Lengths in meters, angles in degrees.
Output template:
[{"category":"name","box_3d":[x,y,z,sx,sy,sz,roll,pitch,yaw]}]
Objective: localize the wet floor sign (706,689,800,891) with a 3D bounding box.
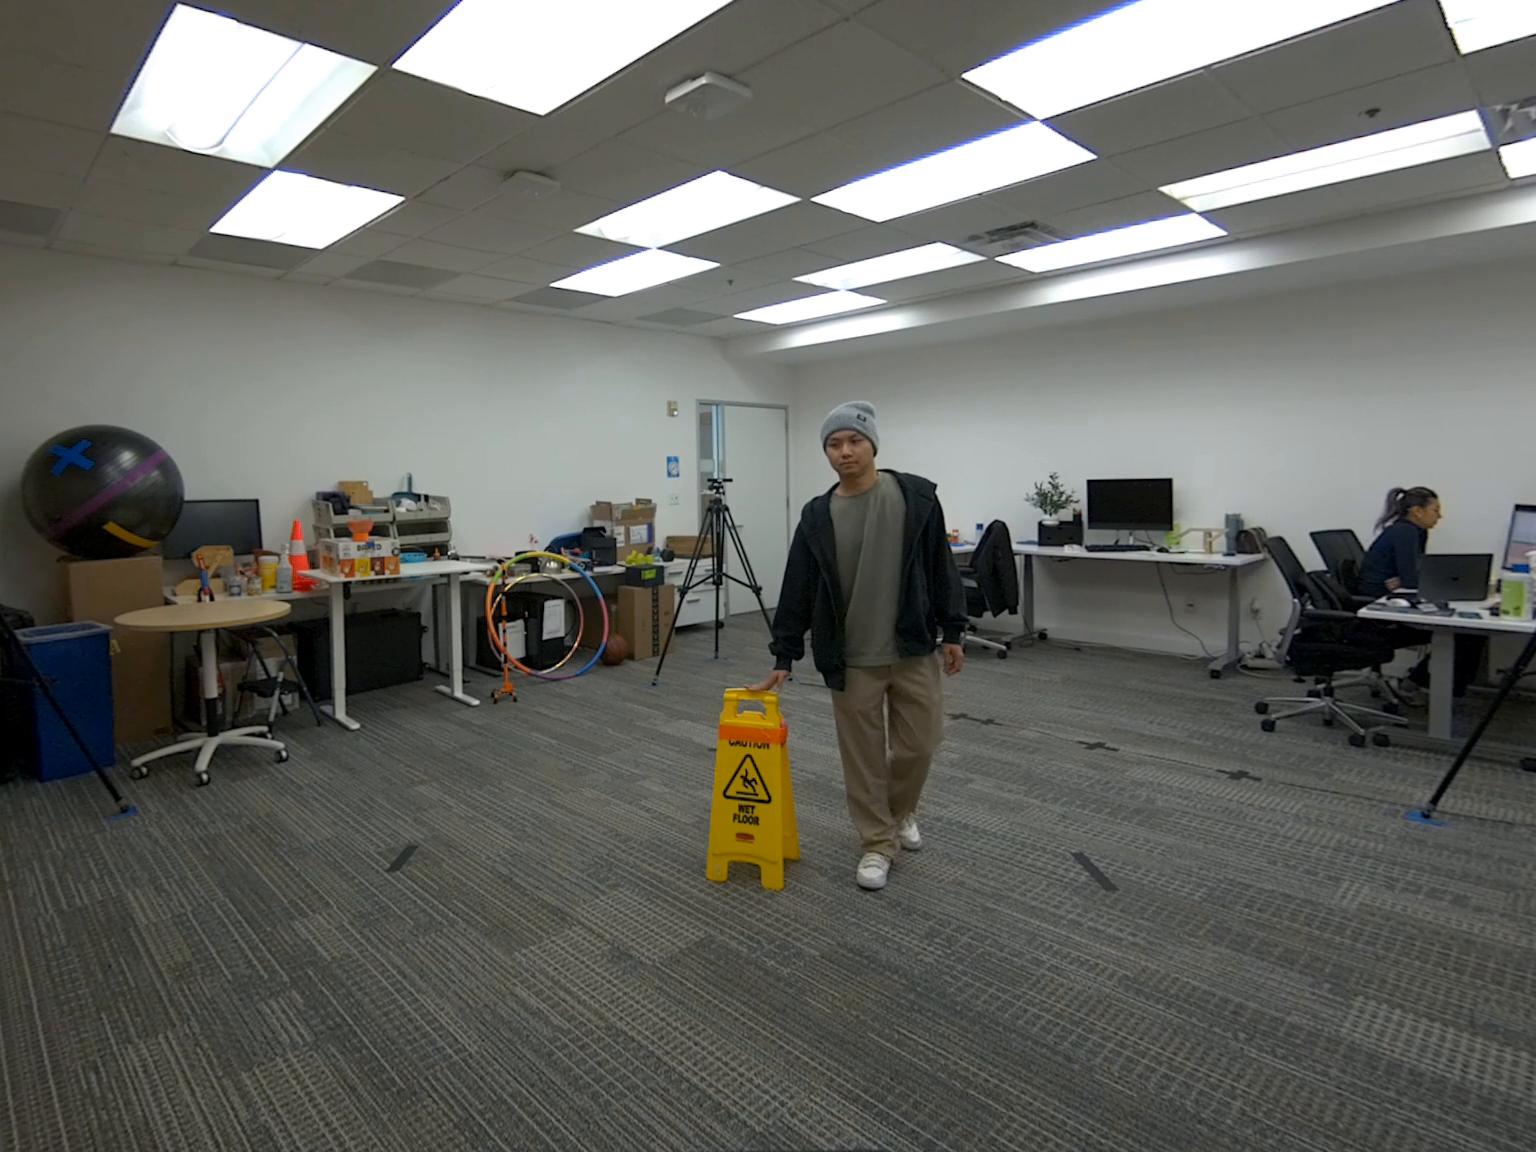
[{"category":"wet floor sign","box_3d":[-0.053,0.727,3.038,0.287,0.643,0.286,-1,4,17]}]
